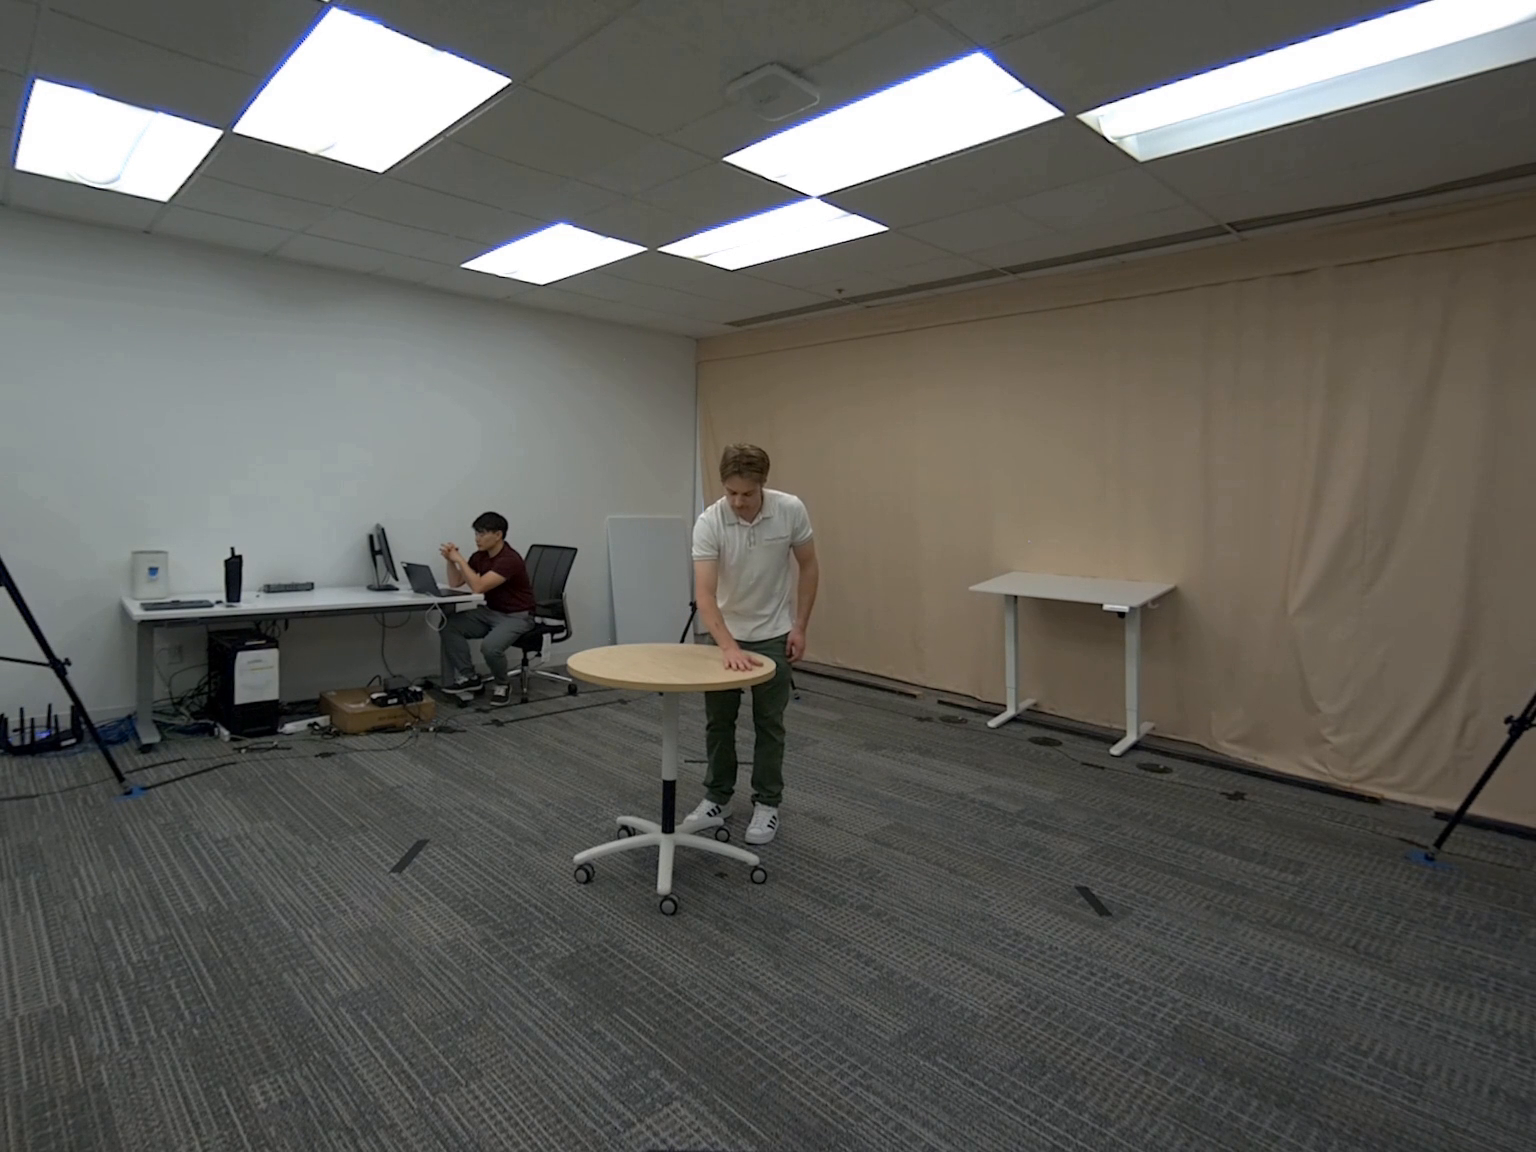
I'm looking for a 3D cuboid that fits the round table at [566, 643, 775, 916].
[{"bbox_3d":[-0.388,0.704,3.120,0.784,0.785,0.787,2,4,-1],"label":"round table"}]
